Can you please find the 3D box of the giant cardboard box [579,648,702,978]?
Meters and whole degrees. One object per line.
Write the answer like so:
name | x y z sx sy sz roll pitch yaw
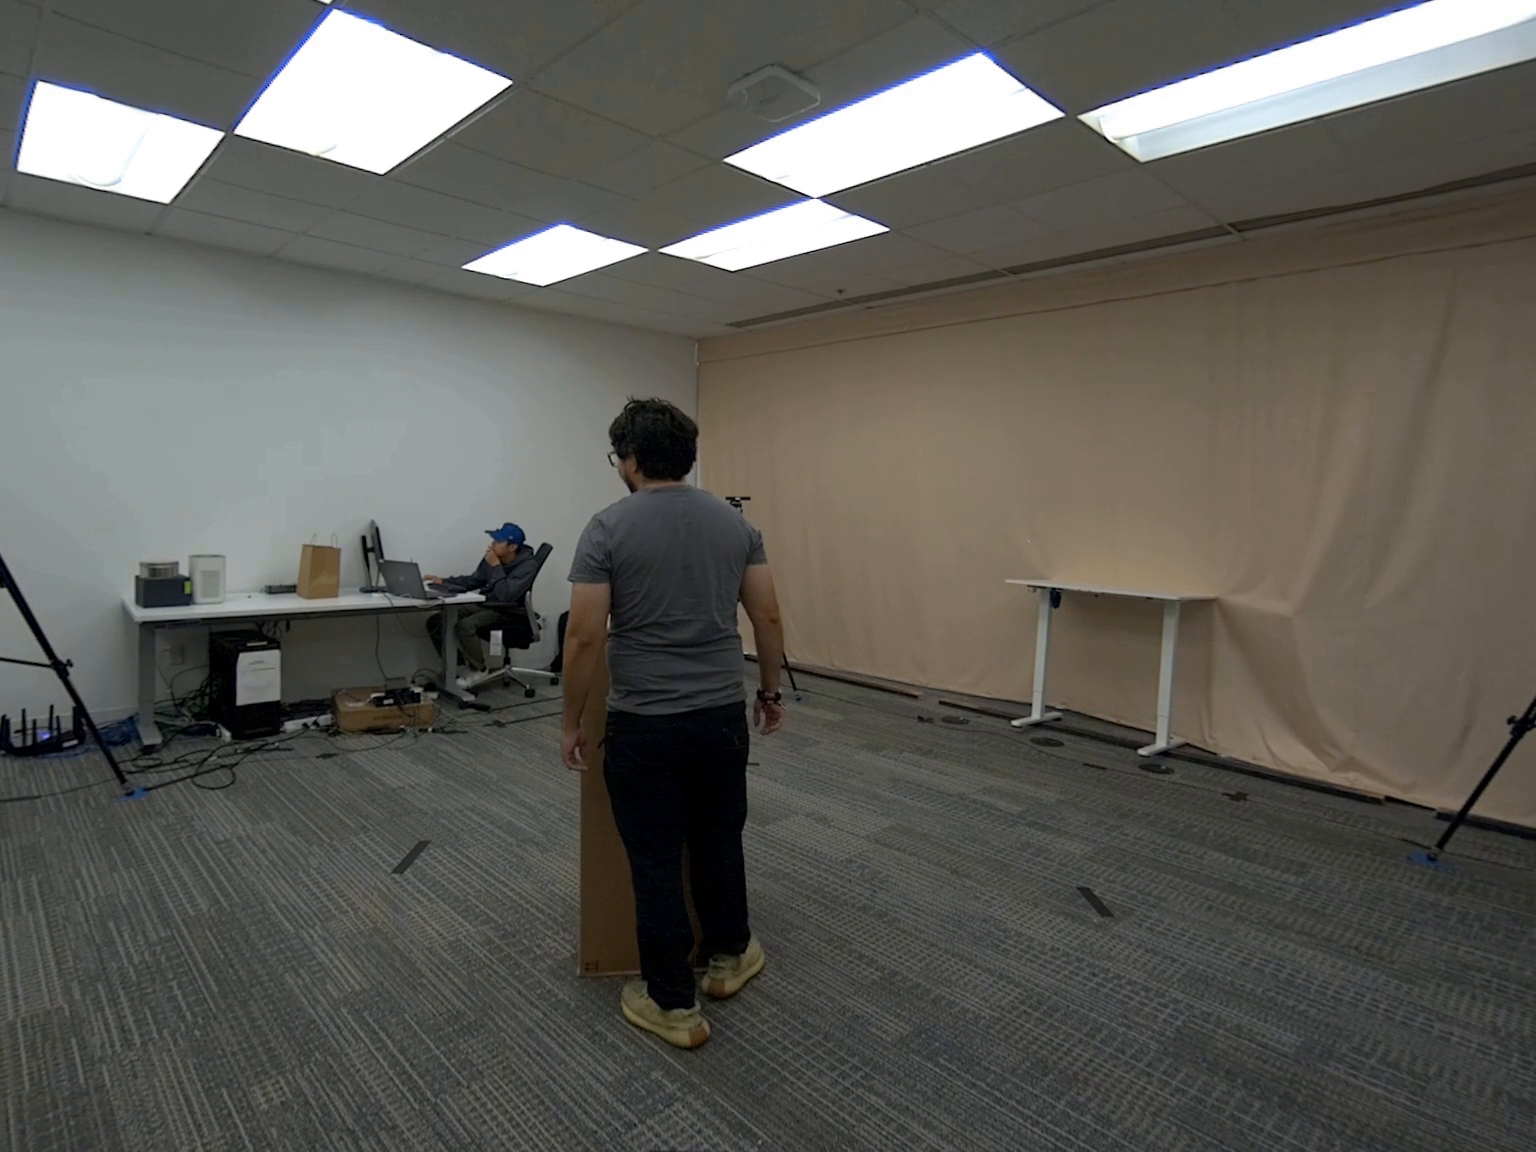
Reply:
giant cardboard box | -0.382 0.633 2.704 0.444 1.024 0.589 1 4 -8
